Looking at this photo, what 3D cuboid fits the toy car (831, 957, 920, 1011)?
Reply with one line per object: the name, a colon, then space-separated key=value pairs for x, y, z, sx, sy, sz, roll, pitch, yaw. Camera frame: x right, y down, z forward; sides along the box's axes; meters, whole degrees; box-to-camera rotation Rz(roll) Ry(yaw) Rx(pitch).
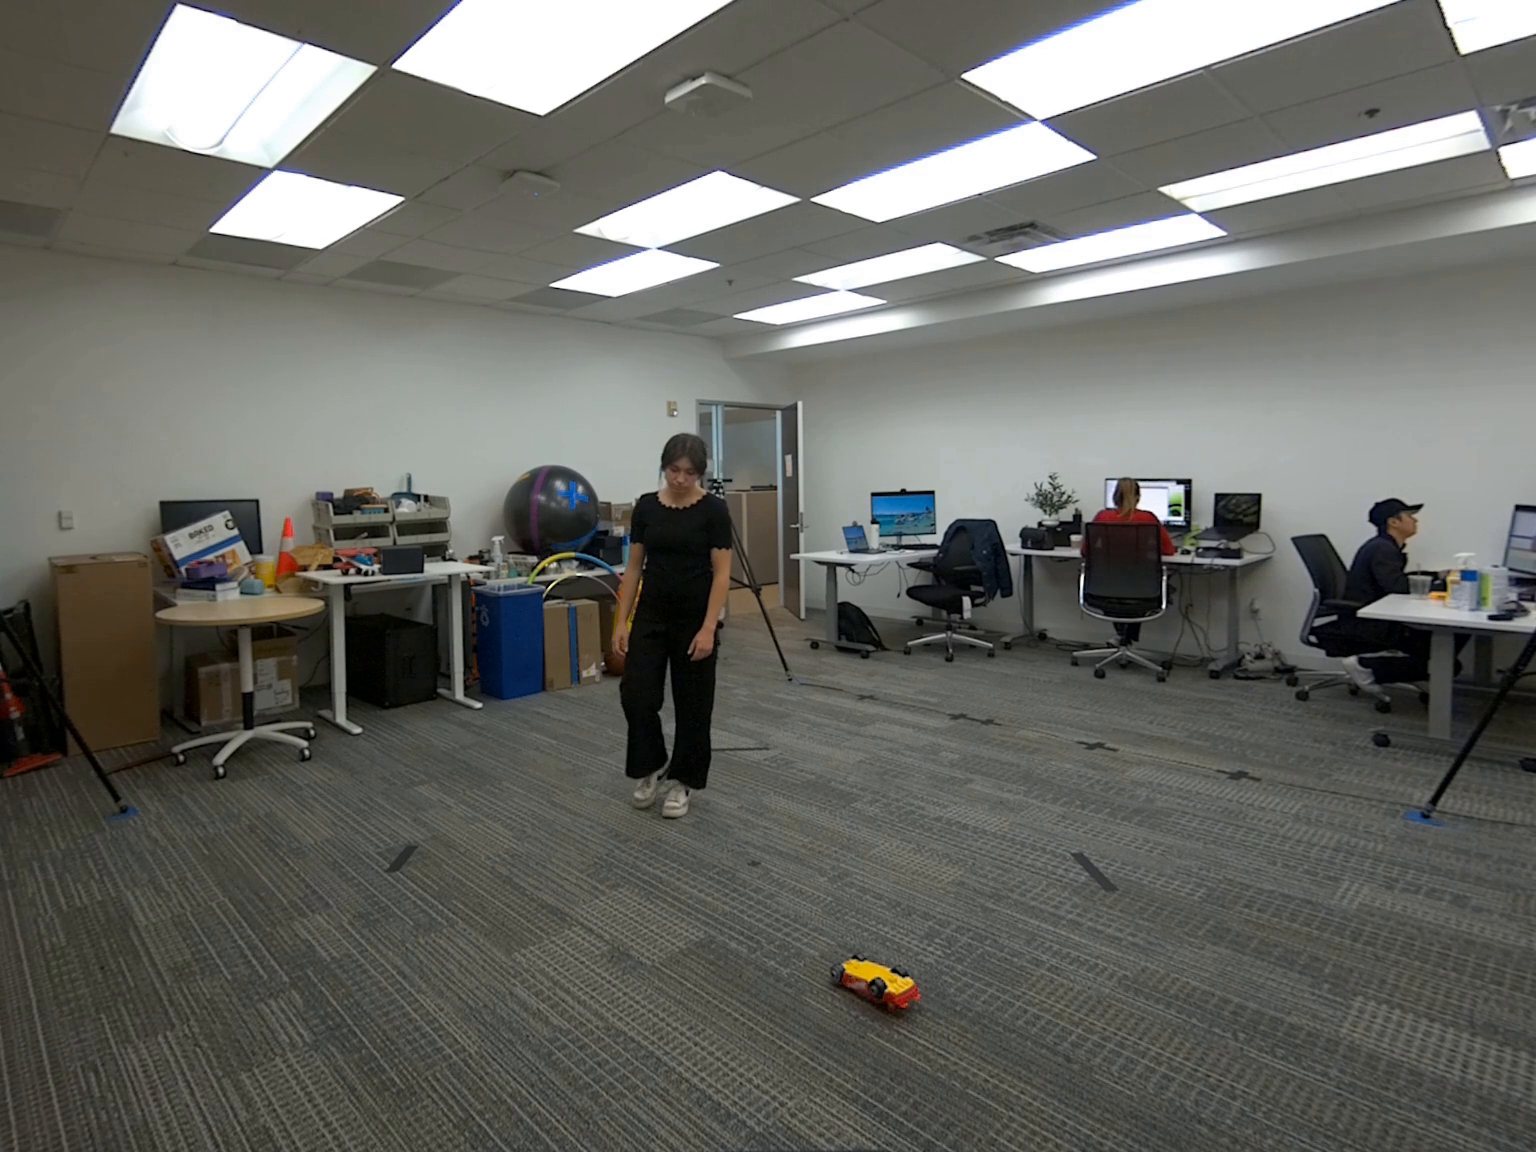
toy car: x=0.297 y=1.094 z=2.300 sx=0.127 sy=0.083 sz=0.262 roll=-5 pitch=8 yaw=-40
